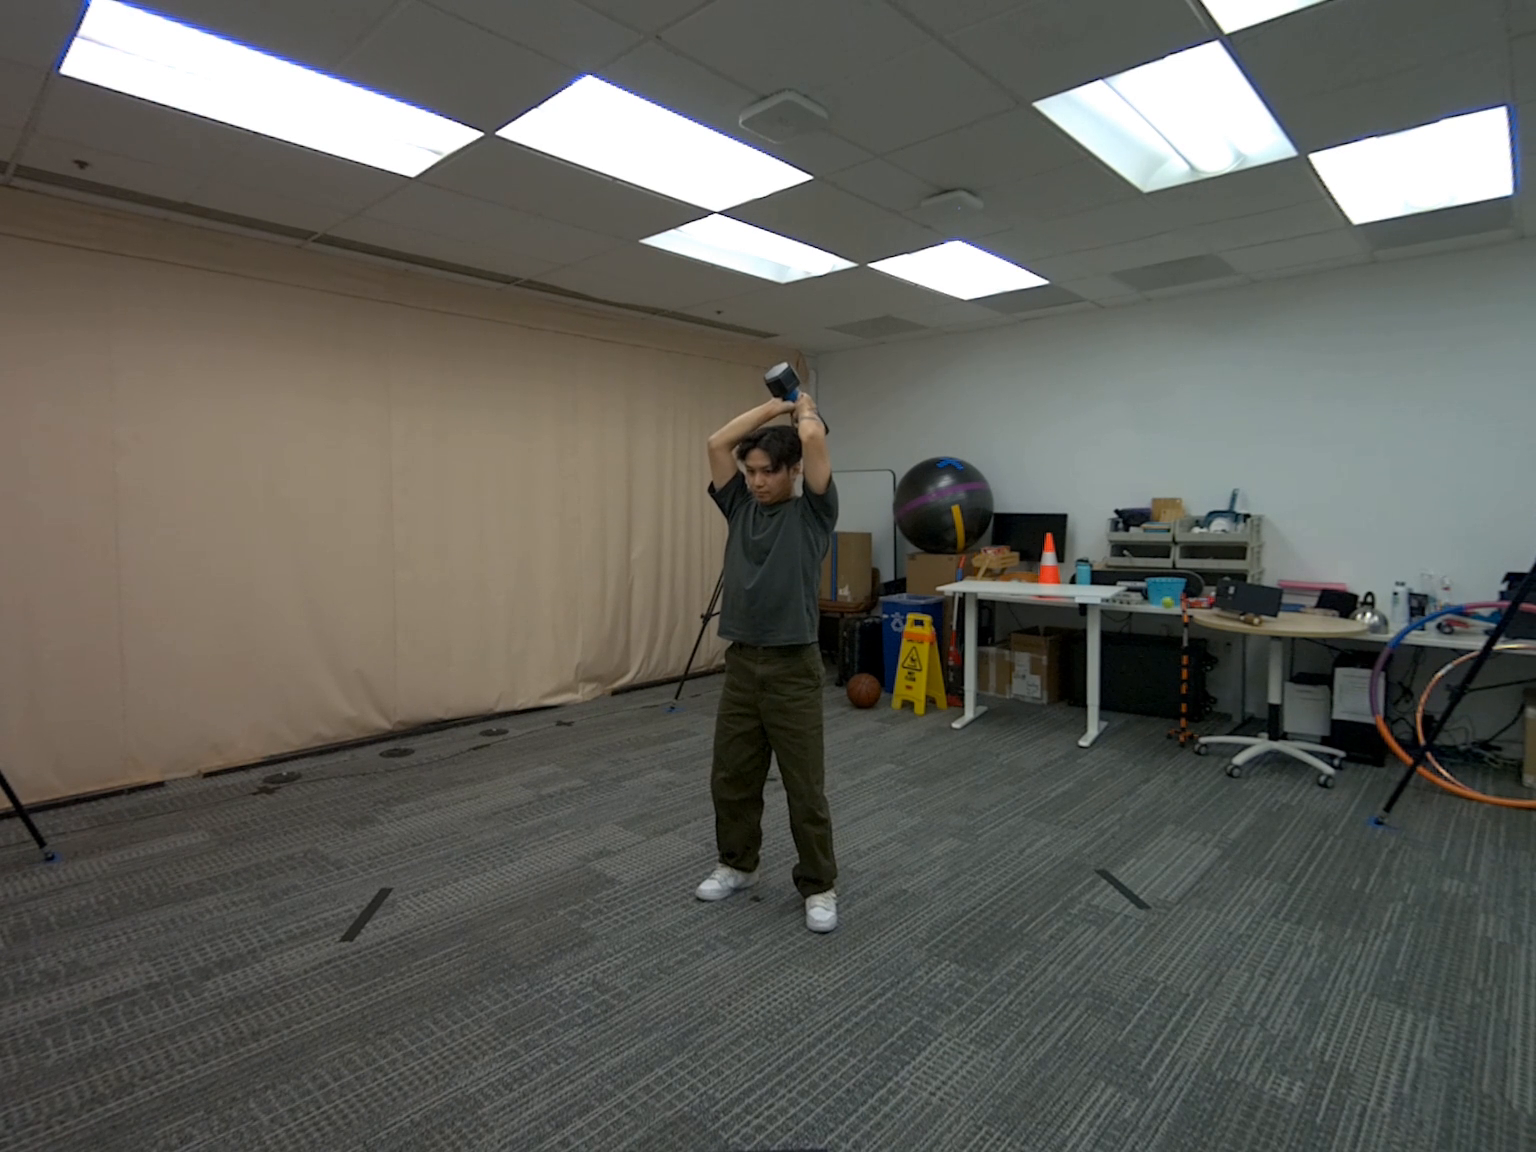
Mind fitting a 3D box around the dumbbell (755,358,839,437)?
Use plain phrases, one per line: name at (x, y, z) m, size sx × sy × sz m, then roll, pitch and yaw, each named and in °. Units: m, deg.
dumbbell at (0.102, -0.603, 2.954) m, size 0.122 × 0.286 × 0.112 m, roll -43°, pitch 27°, yaw -13°
